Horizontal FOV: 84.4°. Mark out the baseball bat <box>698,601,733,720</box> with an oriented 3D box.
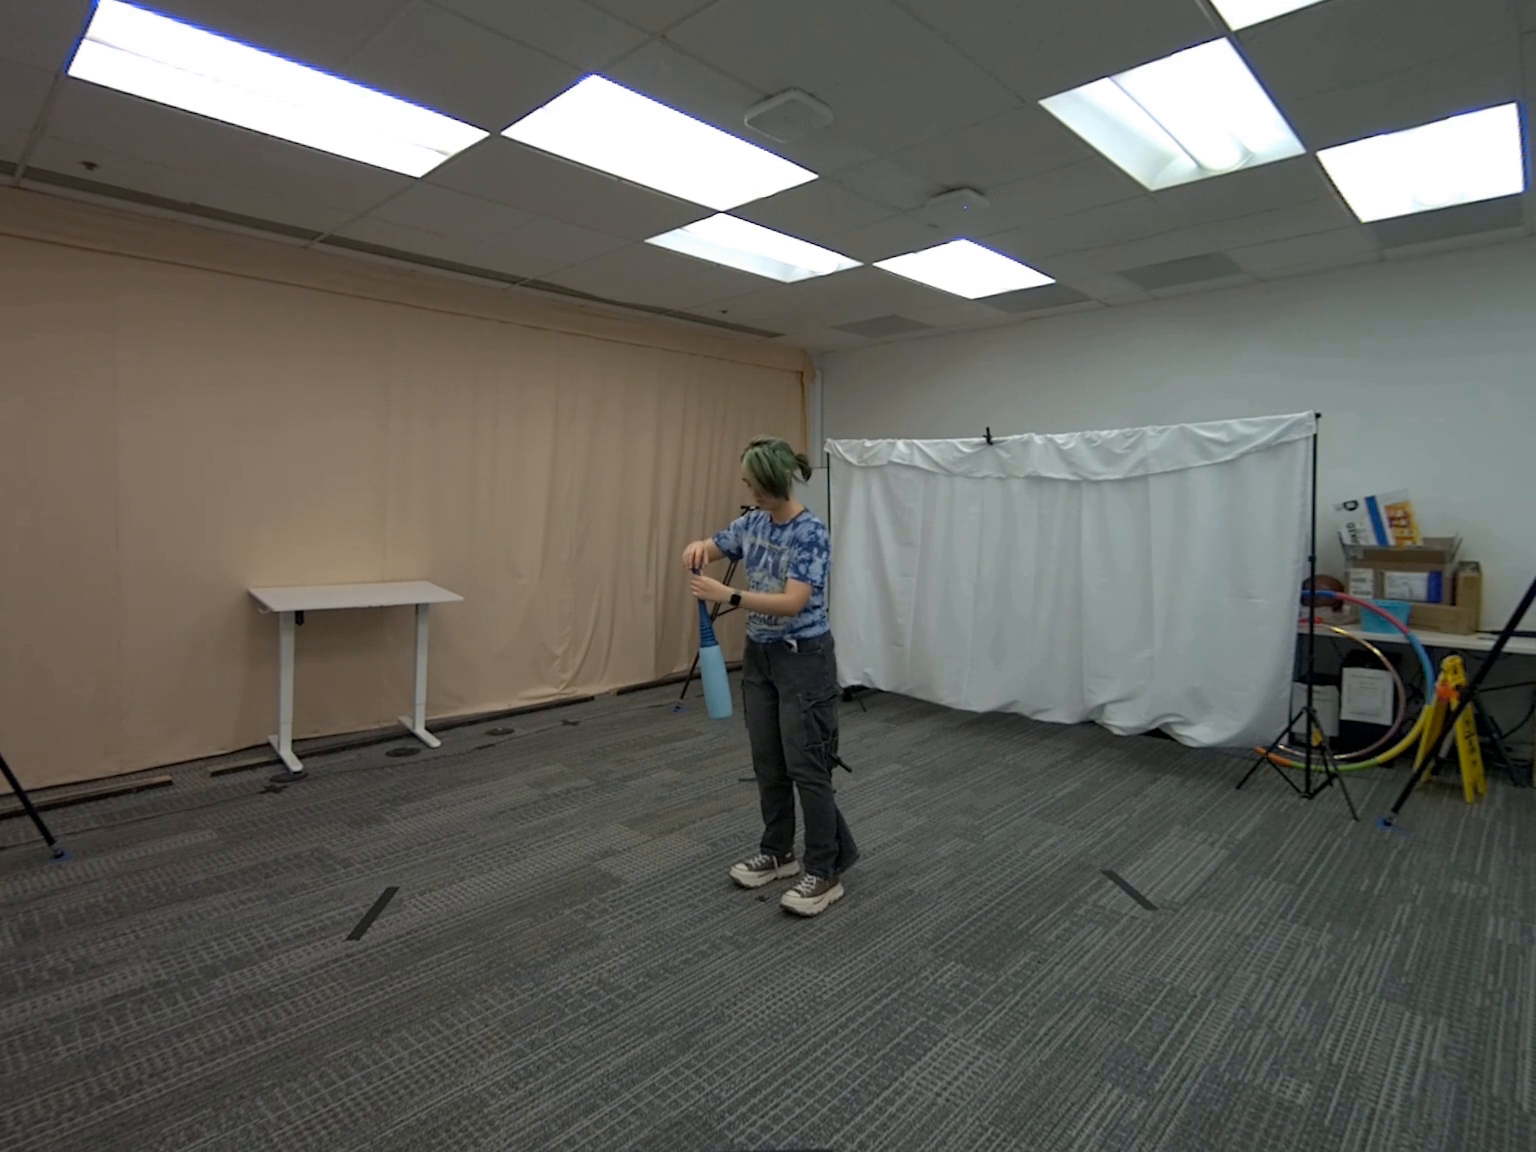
[{"bbox_3d":[-0.204,0.222,2.888,0.089,0.543,0.089,-11,0,-2],"label":"baseball bat"}]
